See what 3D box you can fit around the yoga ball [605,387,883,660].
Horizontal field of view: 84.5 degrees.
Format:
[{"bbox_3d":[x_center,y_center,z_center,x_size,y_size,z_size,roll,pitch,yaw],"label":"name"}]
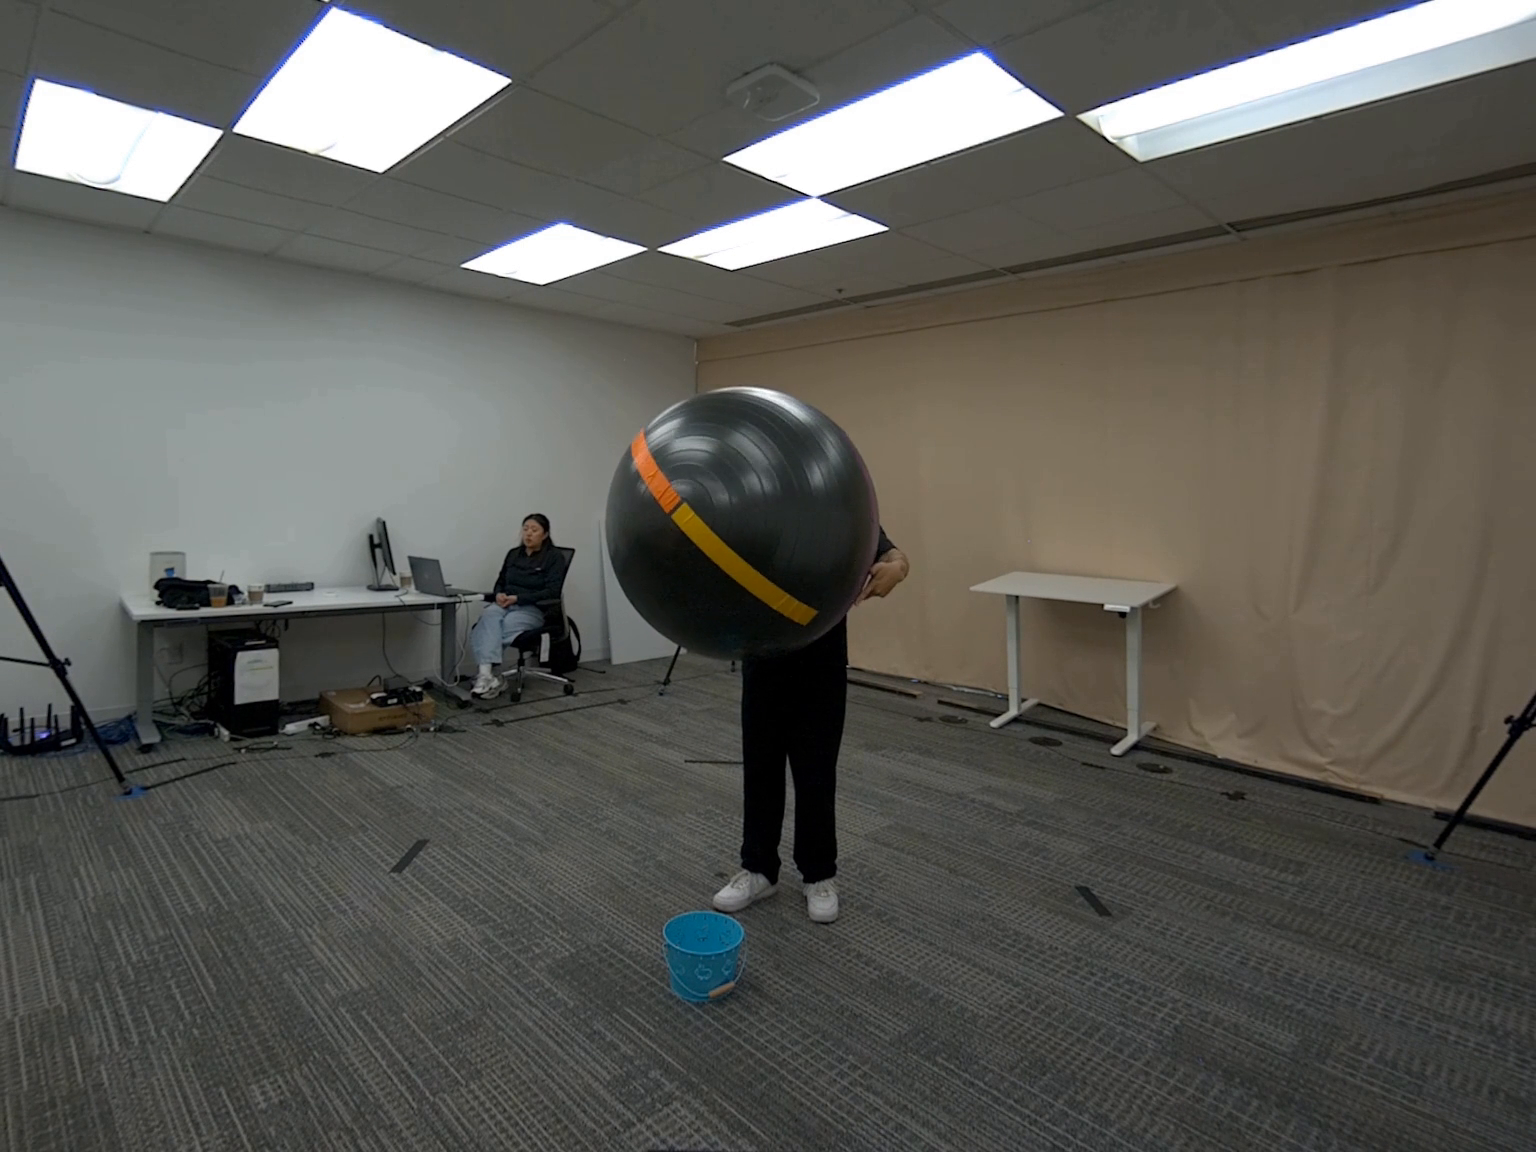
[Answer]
[{"bbox_3d":[-0.075,-0.137,2.346,0.757,0.756,0.761,1,4,-1],"label":"yoga ball"}]
